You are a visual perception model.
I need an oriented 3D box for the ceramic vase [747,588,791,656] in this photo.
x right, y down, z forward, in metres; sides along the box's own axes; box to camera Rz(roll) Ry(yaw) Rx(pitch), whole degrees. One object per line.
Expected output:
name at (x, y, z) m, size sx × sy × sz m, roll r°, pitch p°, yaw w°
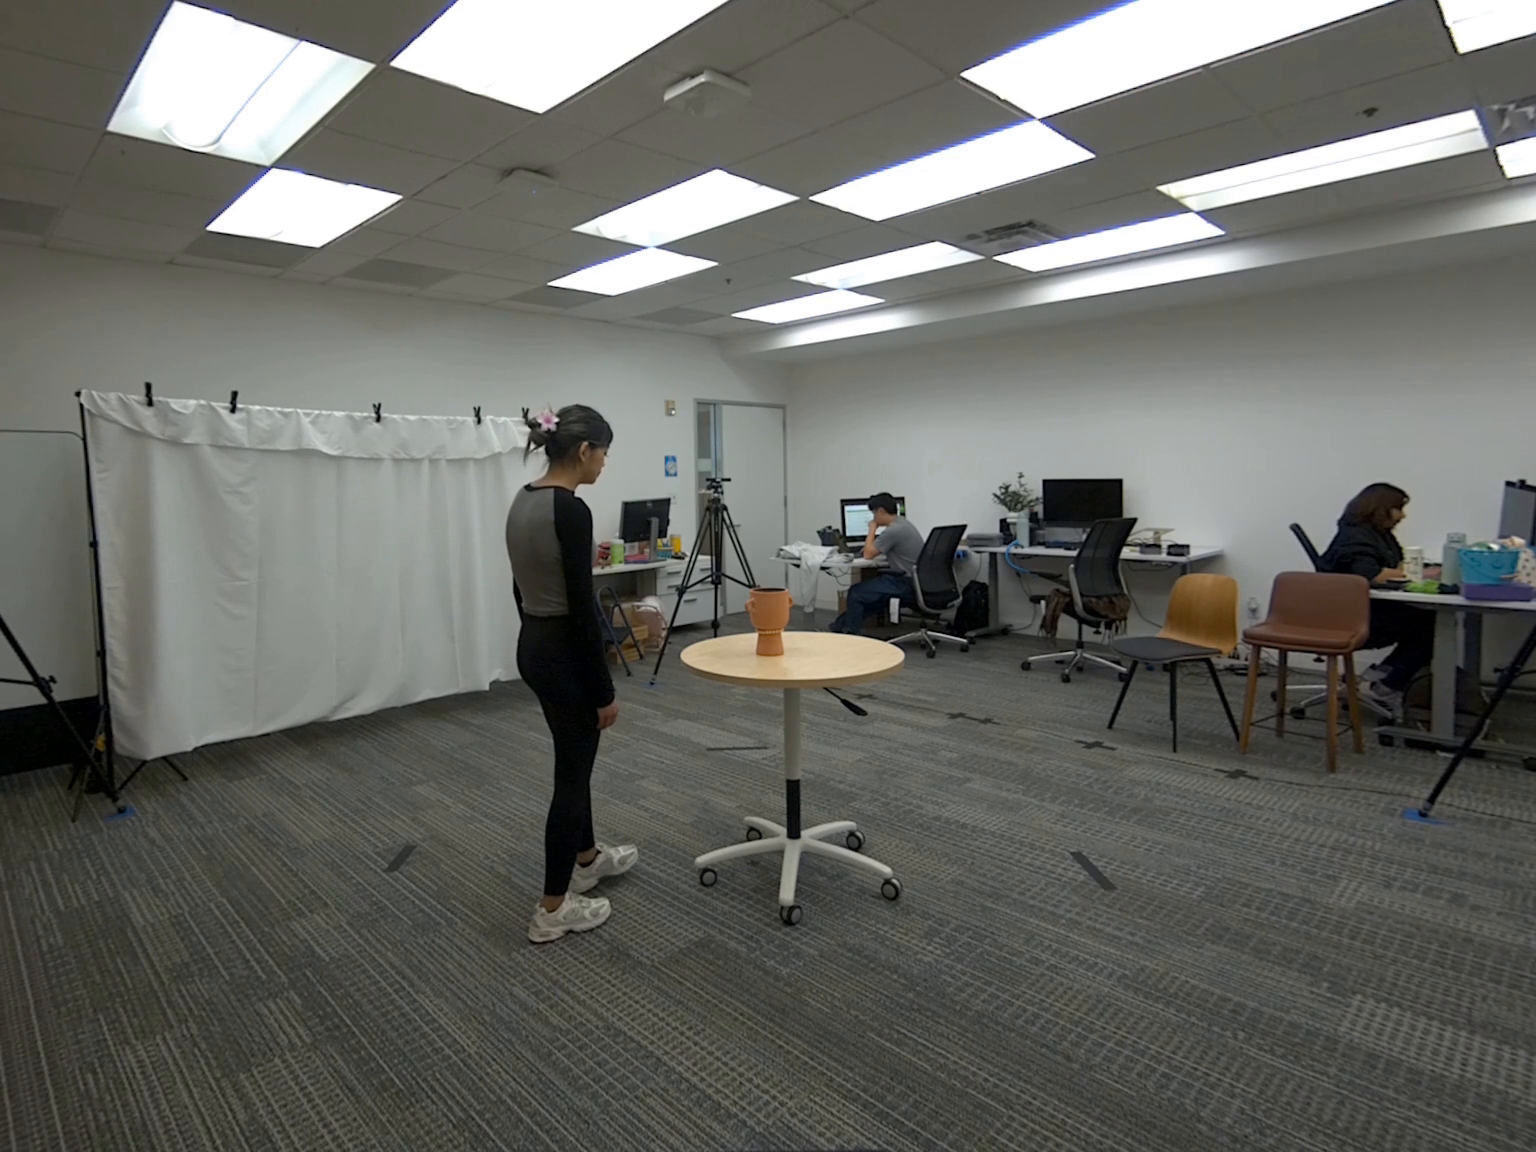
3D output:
ceramic vase at (0.009, 0.156, 2.938) m, size 0.160 × 0.219 × 0.134 m, roll 0°, pitch 4°, yaw 6°
